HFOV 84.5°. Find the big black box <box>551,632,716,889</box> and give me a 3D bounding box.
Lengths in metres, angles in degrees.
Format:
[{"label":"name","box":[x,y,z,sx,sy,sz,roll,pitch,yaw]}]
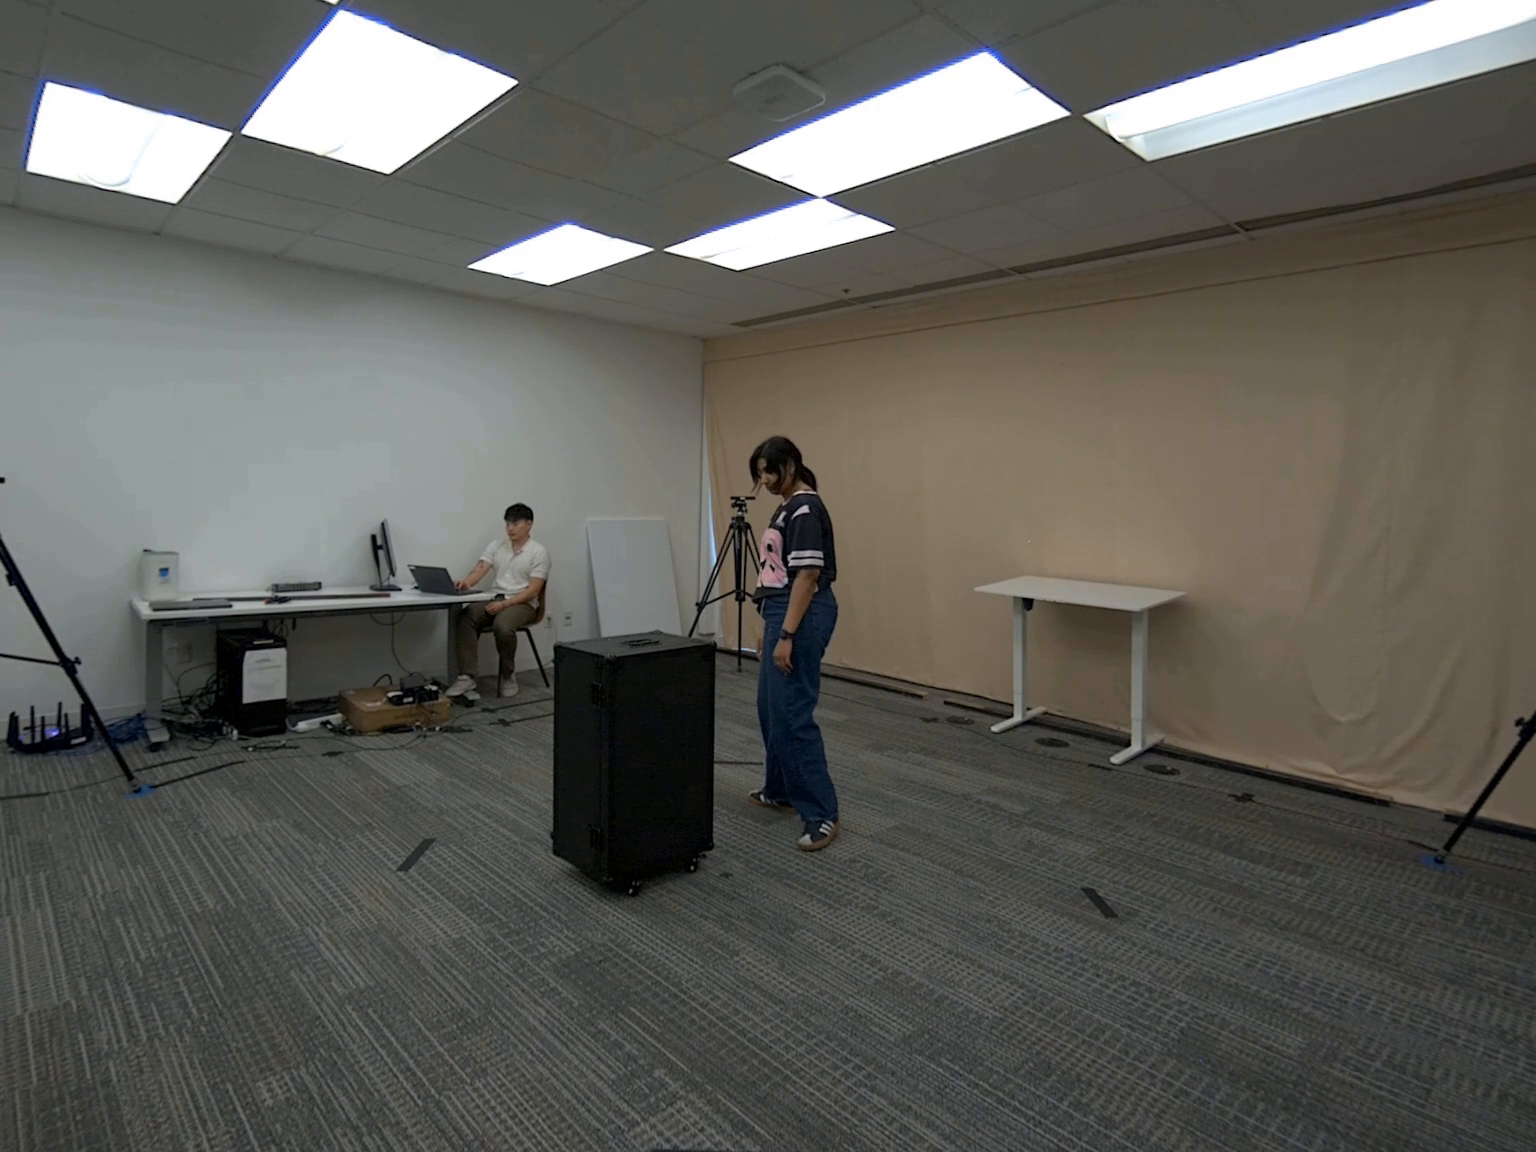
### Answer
[{"label":"big black box","box":[-0.510,0.670,3.113,0.509,0.860,0.406,-2,3,-44]}]
